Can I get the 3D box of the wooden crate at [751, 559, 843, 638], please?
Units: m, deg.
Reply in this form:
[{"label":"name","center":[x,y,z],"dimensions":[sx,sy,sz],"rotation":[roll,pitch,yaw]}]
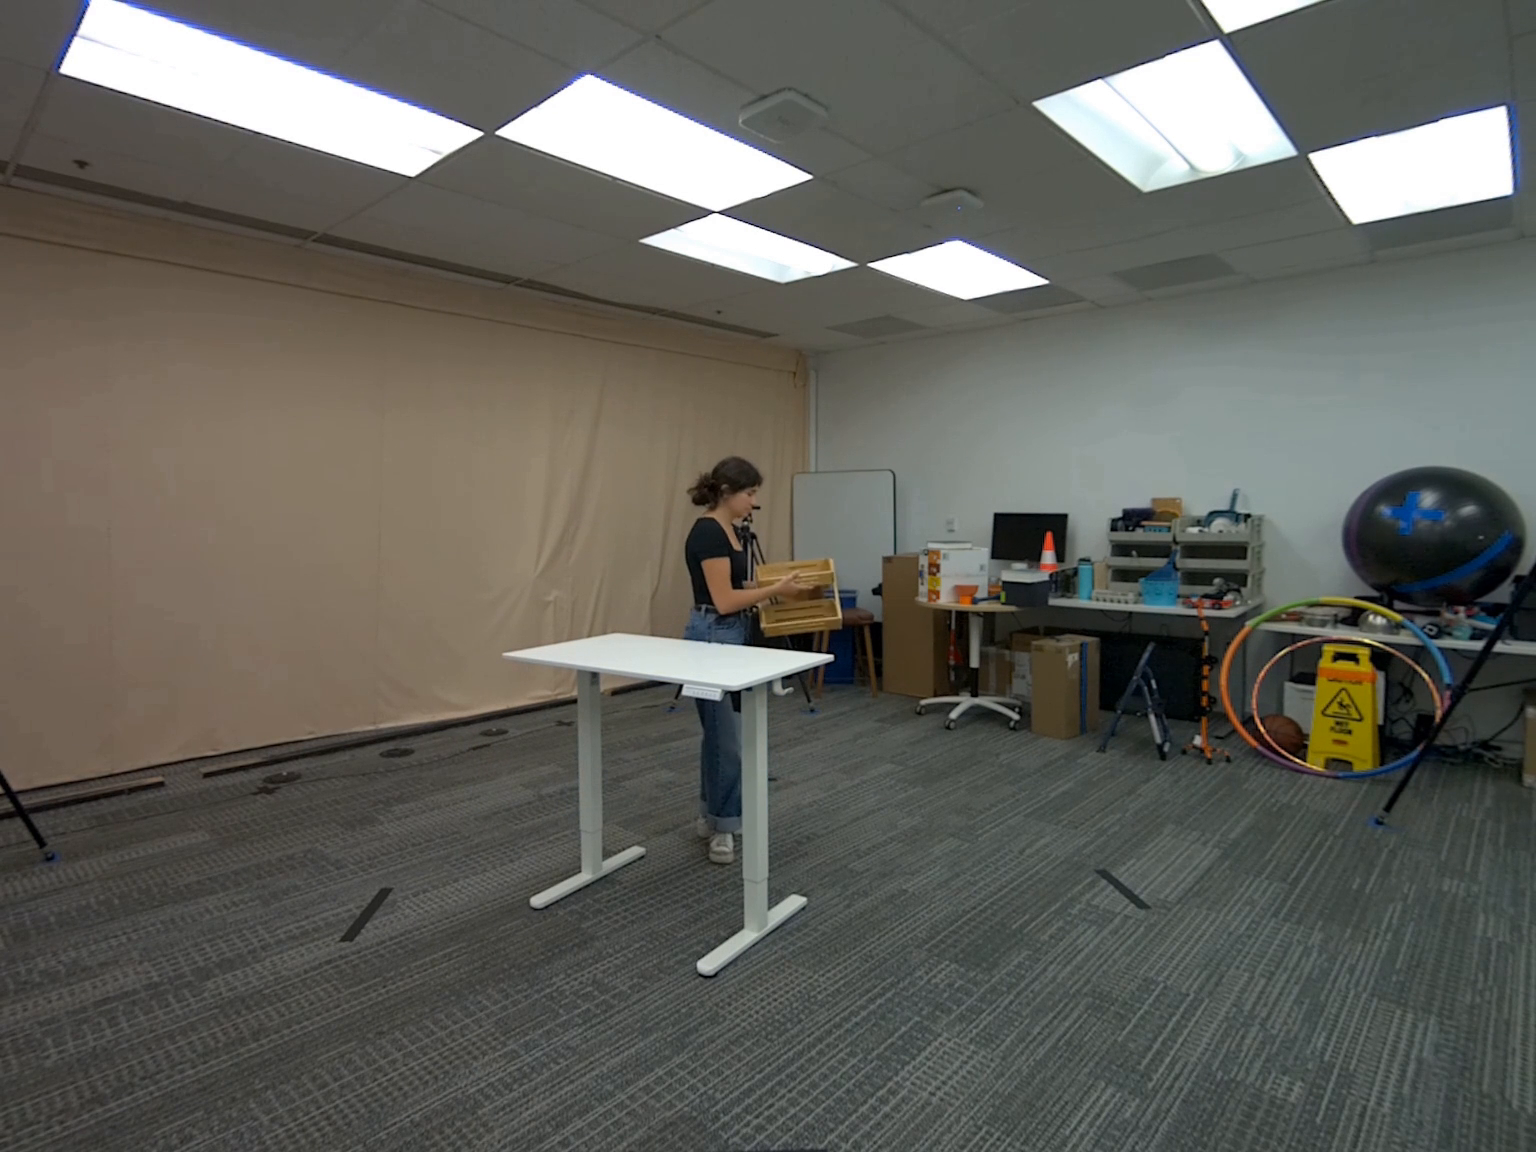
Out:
[{"label":"wooden crate","center":[0.117,0.076,3.369],"dimensions":[0.326,0.273,0.301],"rotation":[-7,2,4]}]
